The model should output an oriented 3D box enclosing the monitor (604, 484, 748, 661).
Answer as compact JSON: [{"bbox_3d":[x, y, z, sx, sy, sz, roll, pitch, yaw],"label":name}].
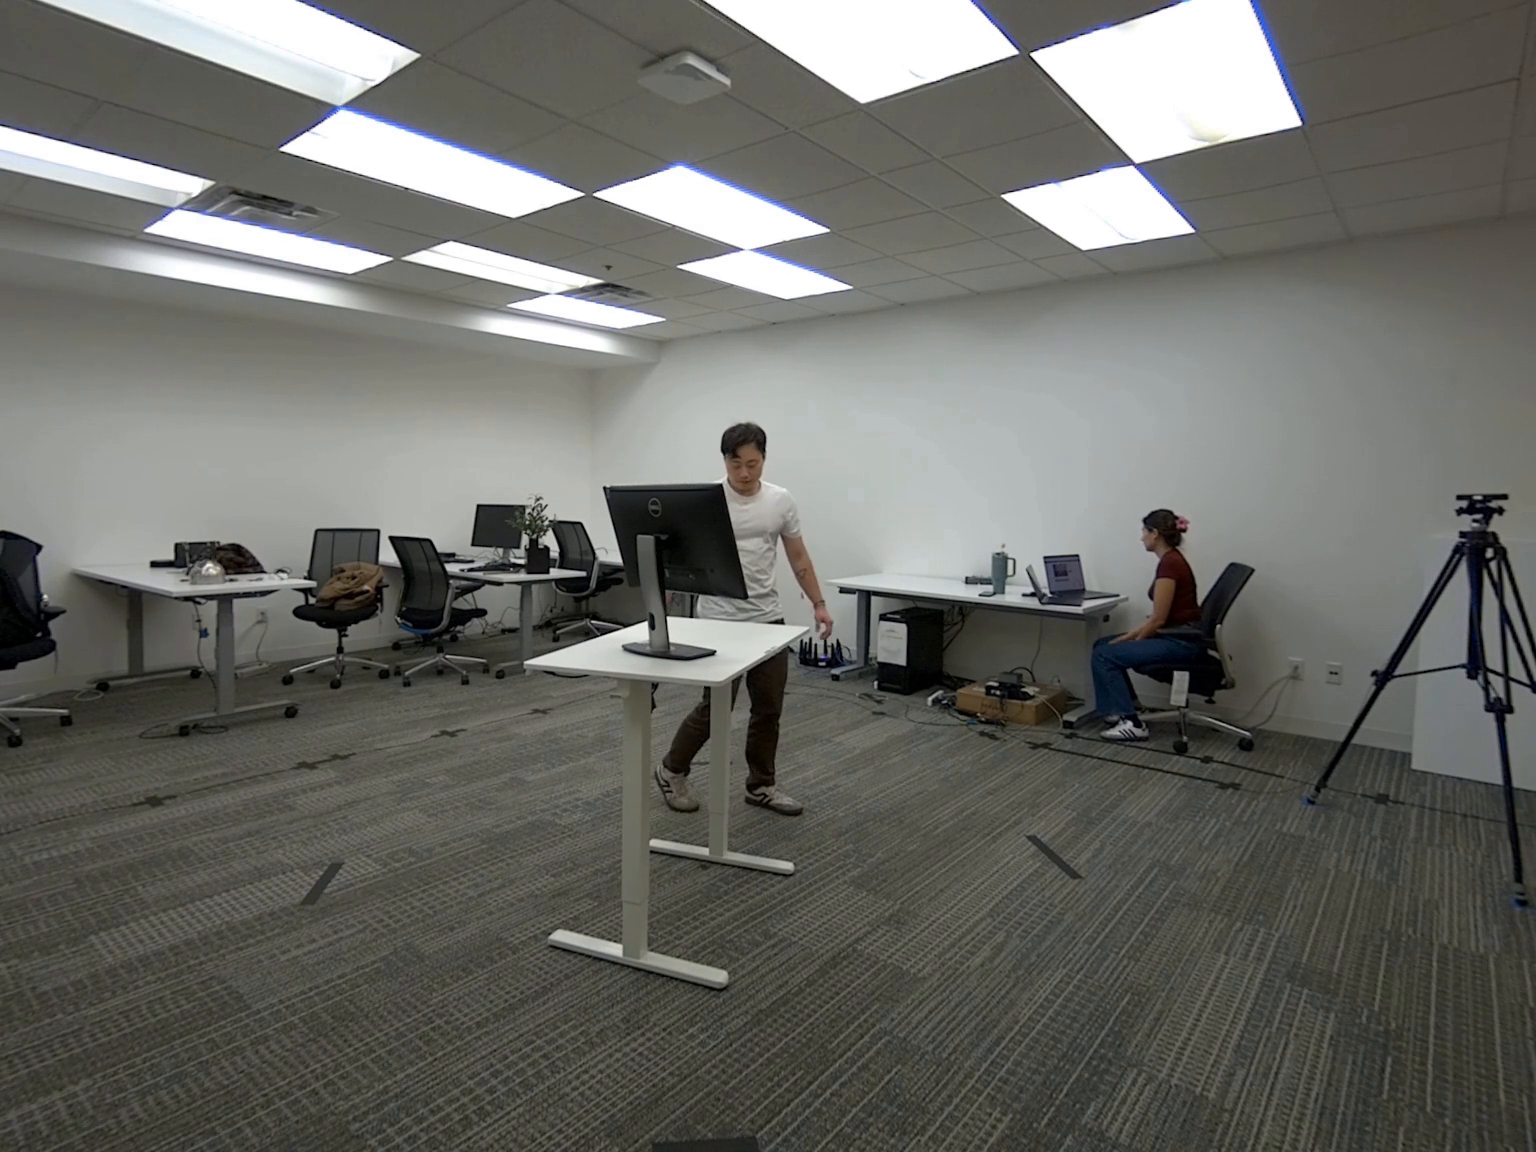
[{"bbox_3d":[-0.319,-0.022,2.596,0.557,0.520,0.182,3,8,40],"label":"monitor"}]
